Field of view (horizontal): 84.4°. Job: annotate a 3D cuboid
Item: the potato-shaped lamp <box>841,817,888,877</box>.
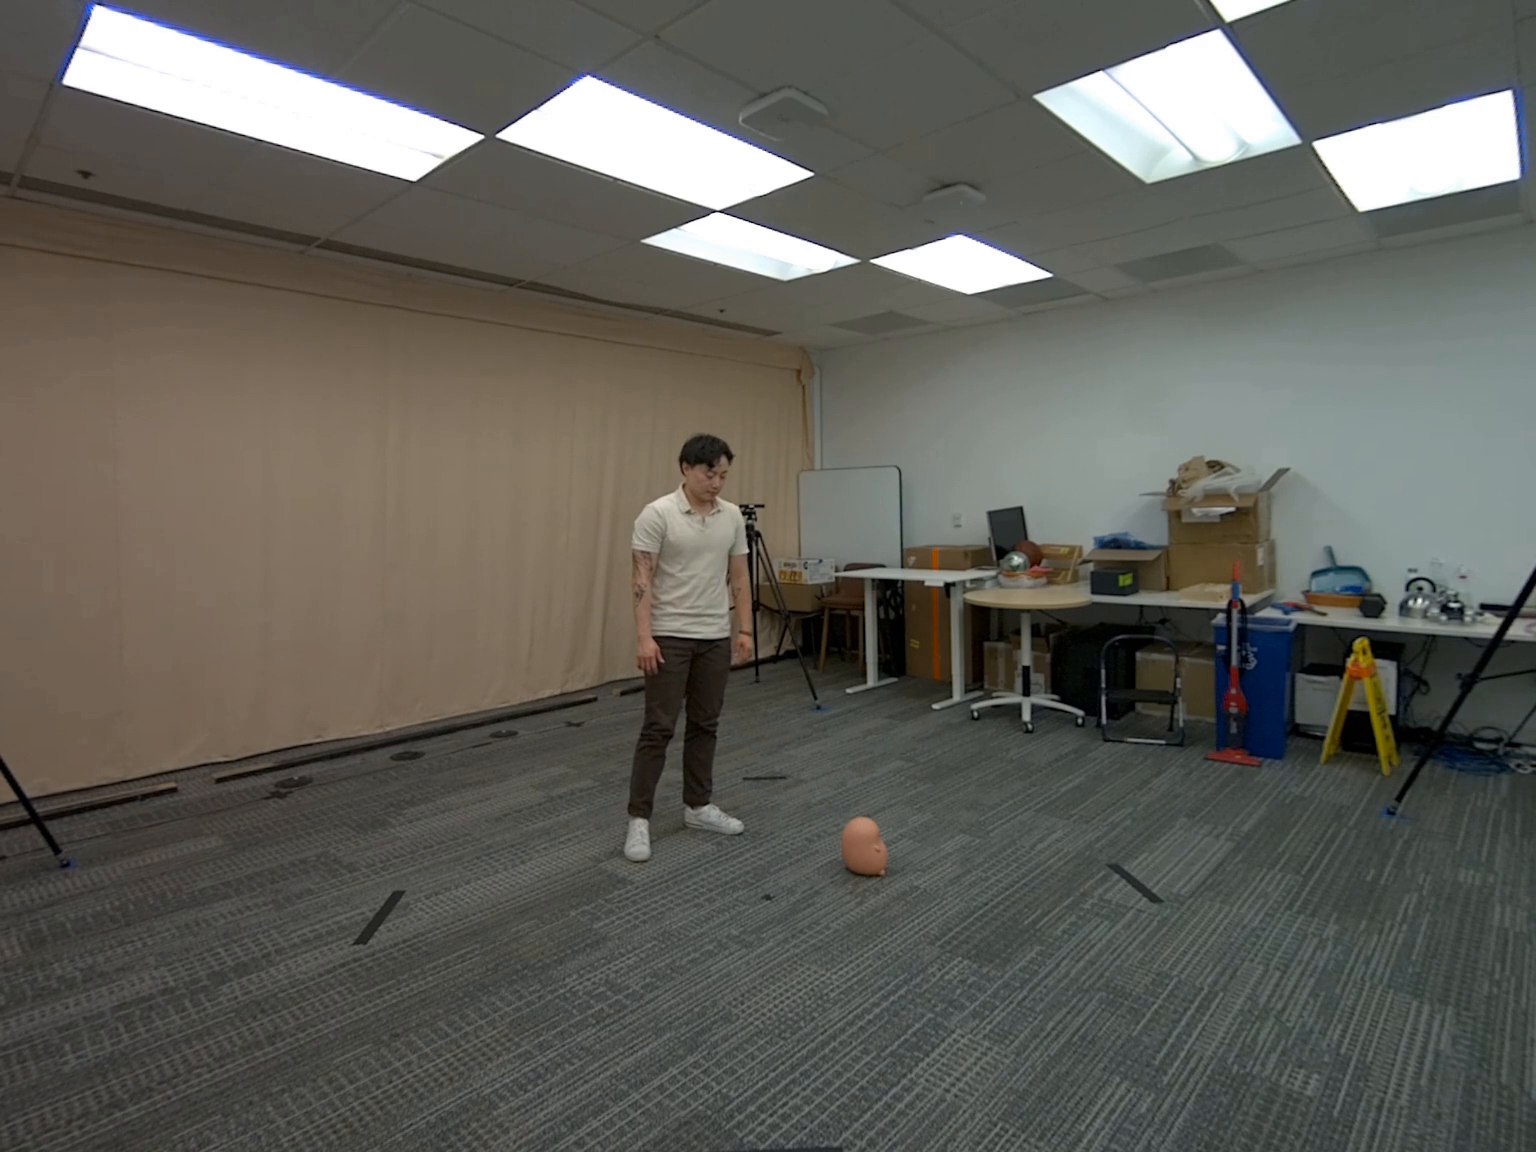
[{"bbox_3d":[0.368,1.017,3.185,0.173,0.198,0.163,-3,1,8],"label":"potato-shaped lamp"}]
